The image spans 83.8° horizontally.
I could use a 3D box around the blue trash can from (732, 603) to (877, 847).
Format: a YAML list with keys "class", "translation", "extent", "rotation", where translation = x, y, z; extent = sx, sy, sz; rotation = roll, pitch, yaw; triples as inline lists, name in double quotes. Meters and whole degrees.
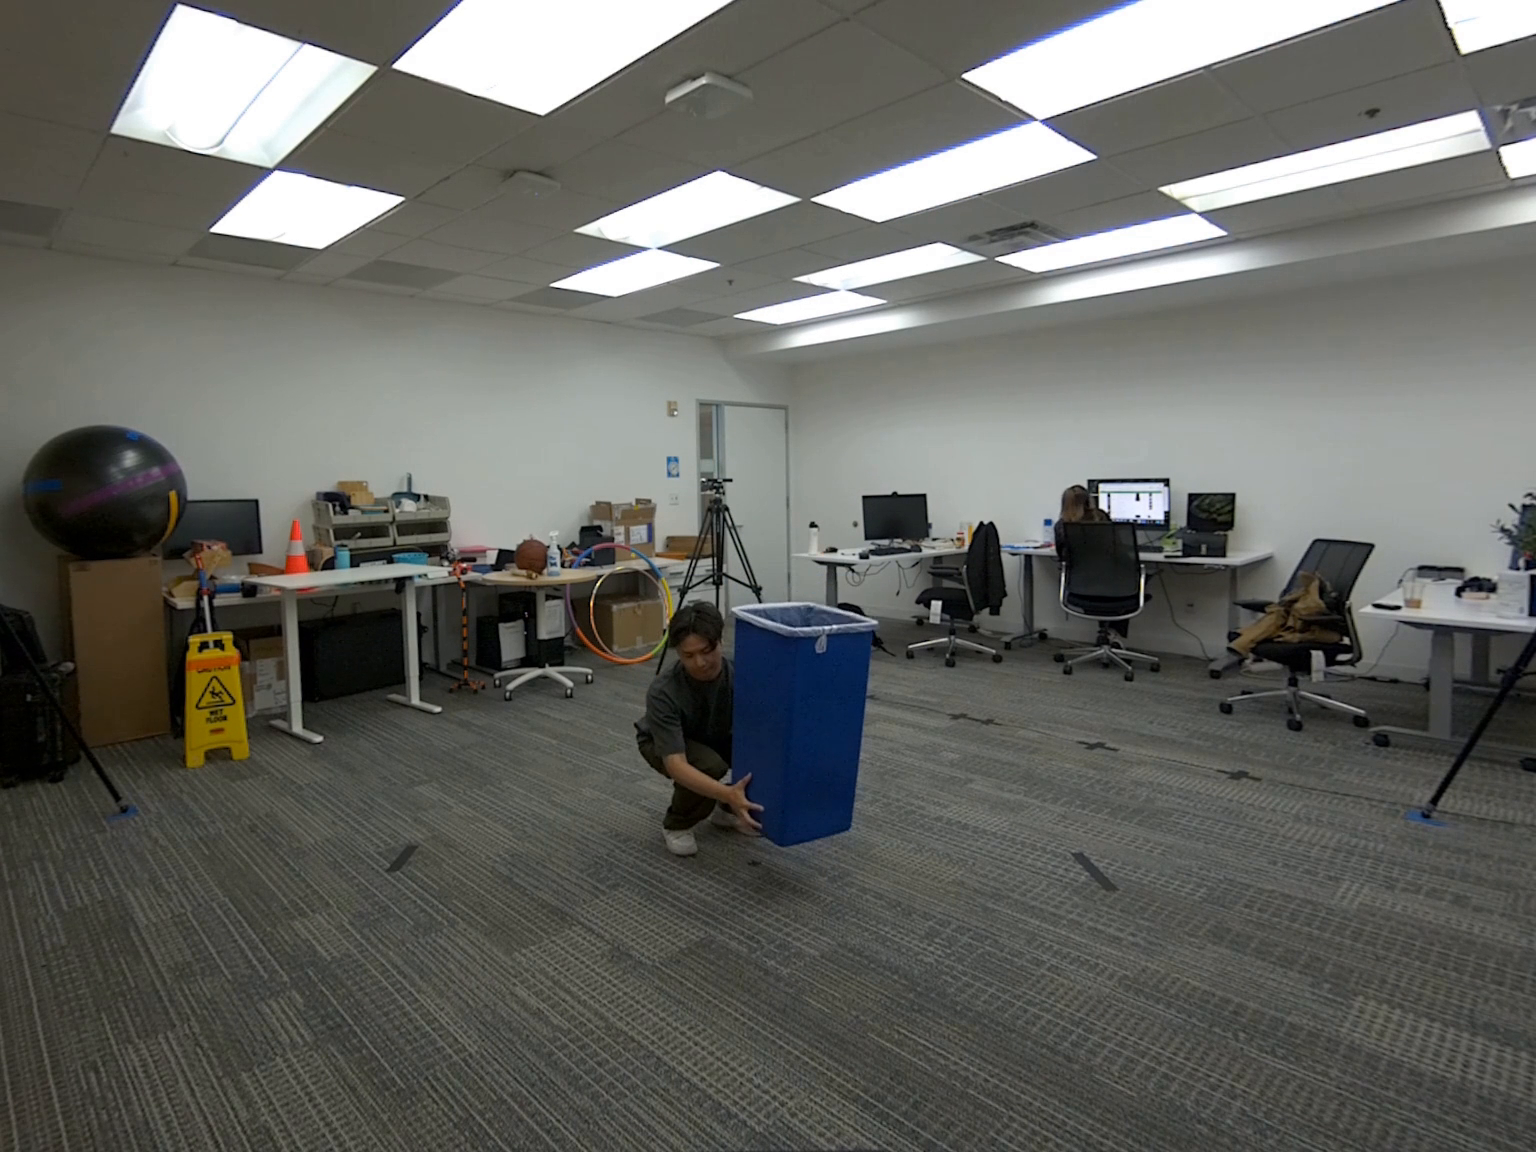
- class: "blue trash can"
  translation: [0.106, 0.479, 2.876]
  extent: [0.364, 0.710, 0.390]
  rotation: [-1, 8, -36]
